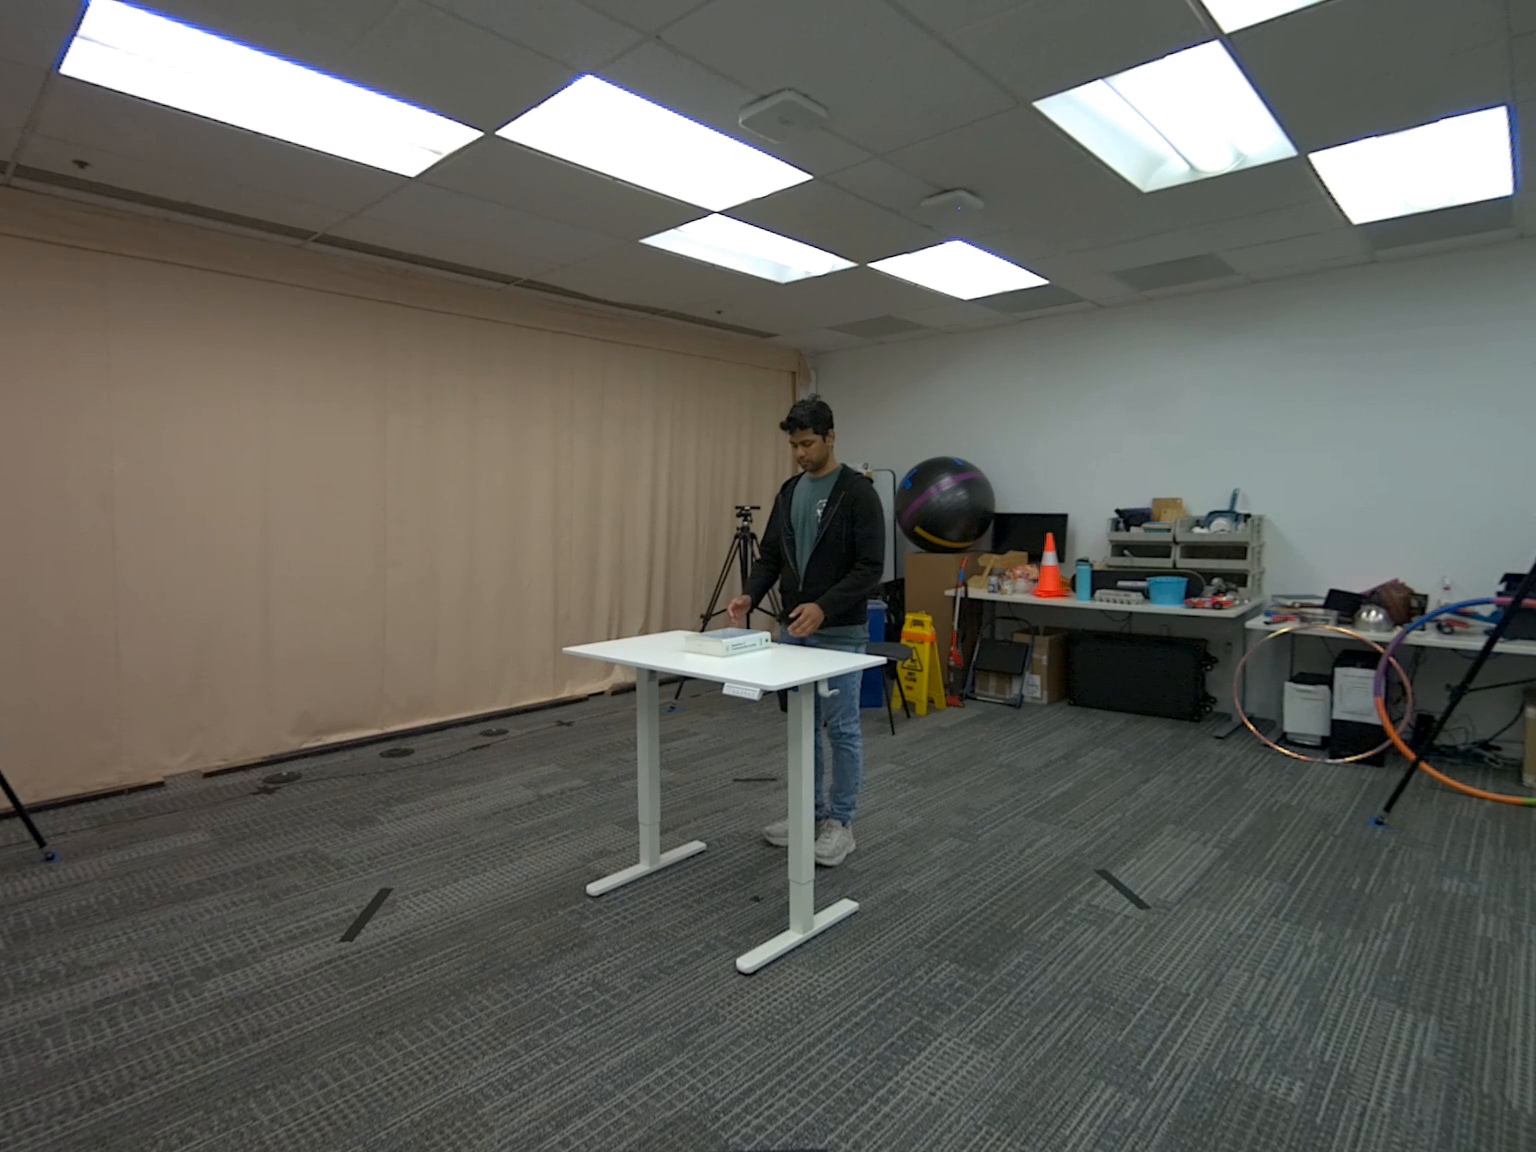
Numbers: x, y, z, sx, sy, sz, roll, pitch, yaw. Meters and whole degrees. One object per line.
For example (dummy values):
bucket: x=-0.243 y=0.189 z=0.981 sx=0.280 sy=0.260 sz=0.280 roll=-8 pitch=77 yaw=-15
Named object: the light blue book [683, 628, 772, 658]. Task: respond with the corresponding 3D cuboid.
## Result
light blue book: x=-0.143 y=0.235 z=2.996 sx=0.198 sy=0.059 sz=0.253 roll=4 pitch=6 yaw=39
